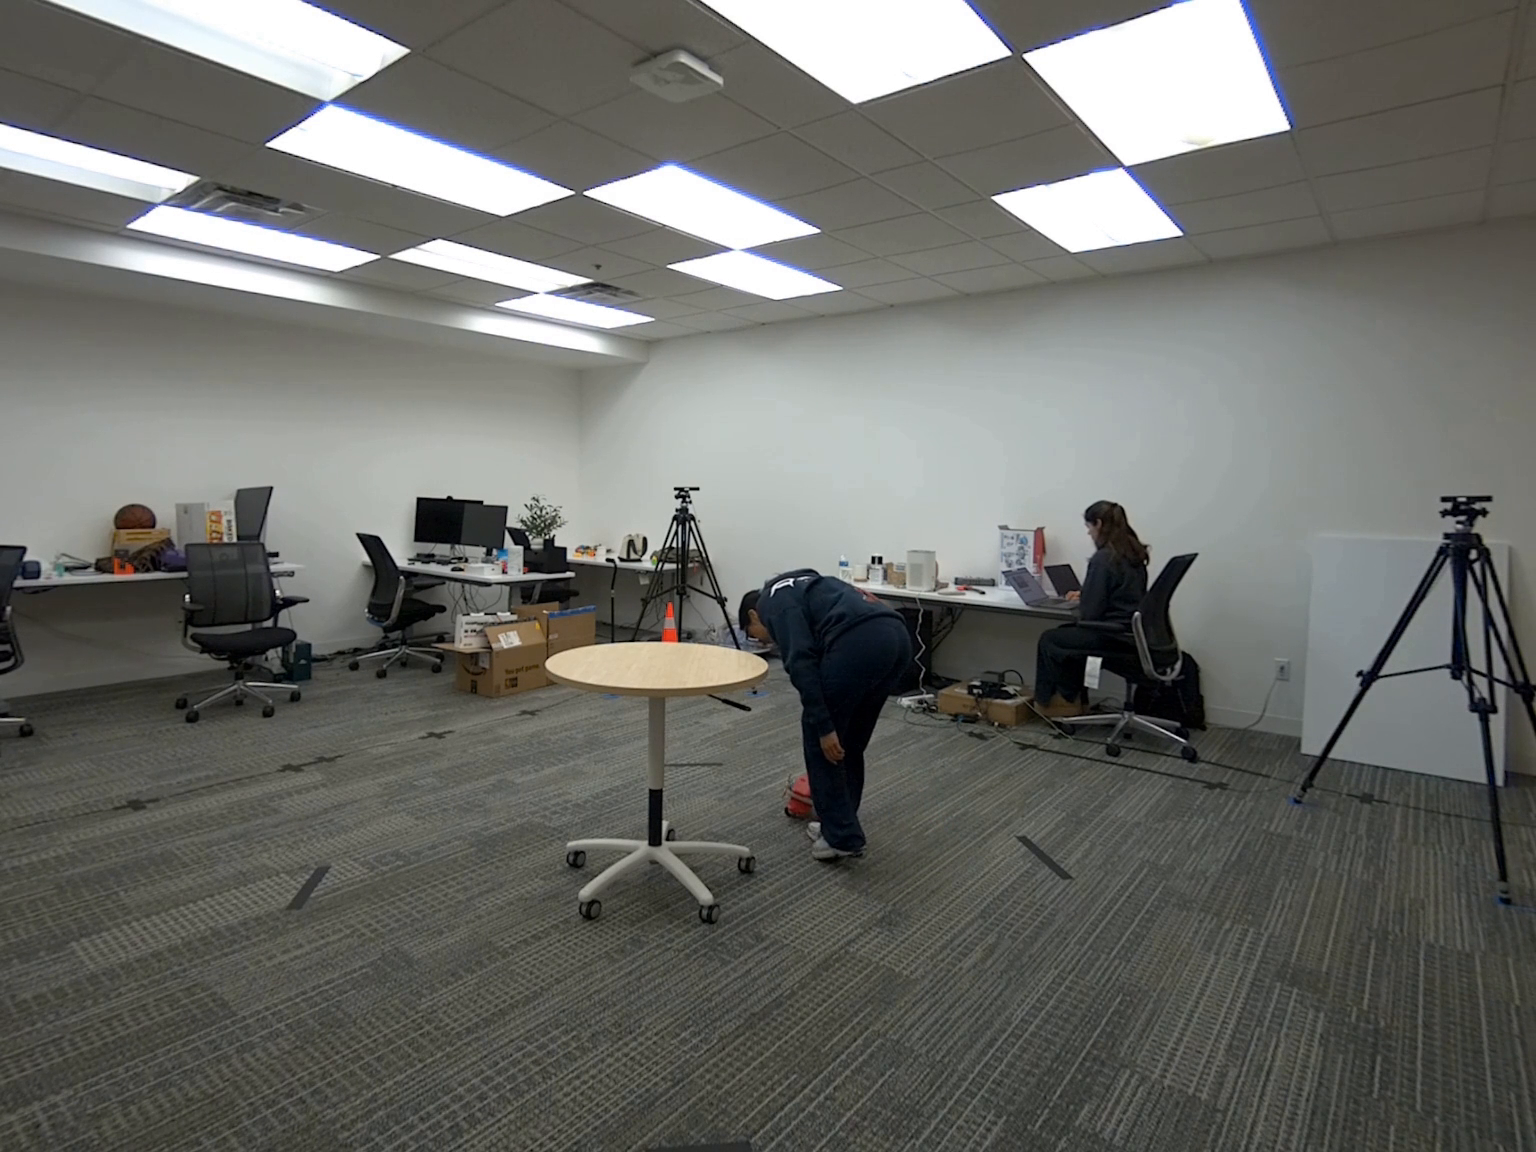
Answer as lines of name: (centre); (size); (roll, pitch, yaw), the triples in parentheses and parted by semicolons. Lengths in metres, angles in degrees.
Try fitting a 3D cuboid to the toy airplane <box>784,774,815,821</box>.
toy airplane: (0.190, 0.946, 3.639); (0.257, 0.156, 0.254); (0, 5, -7)
